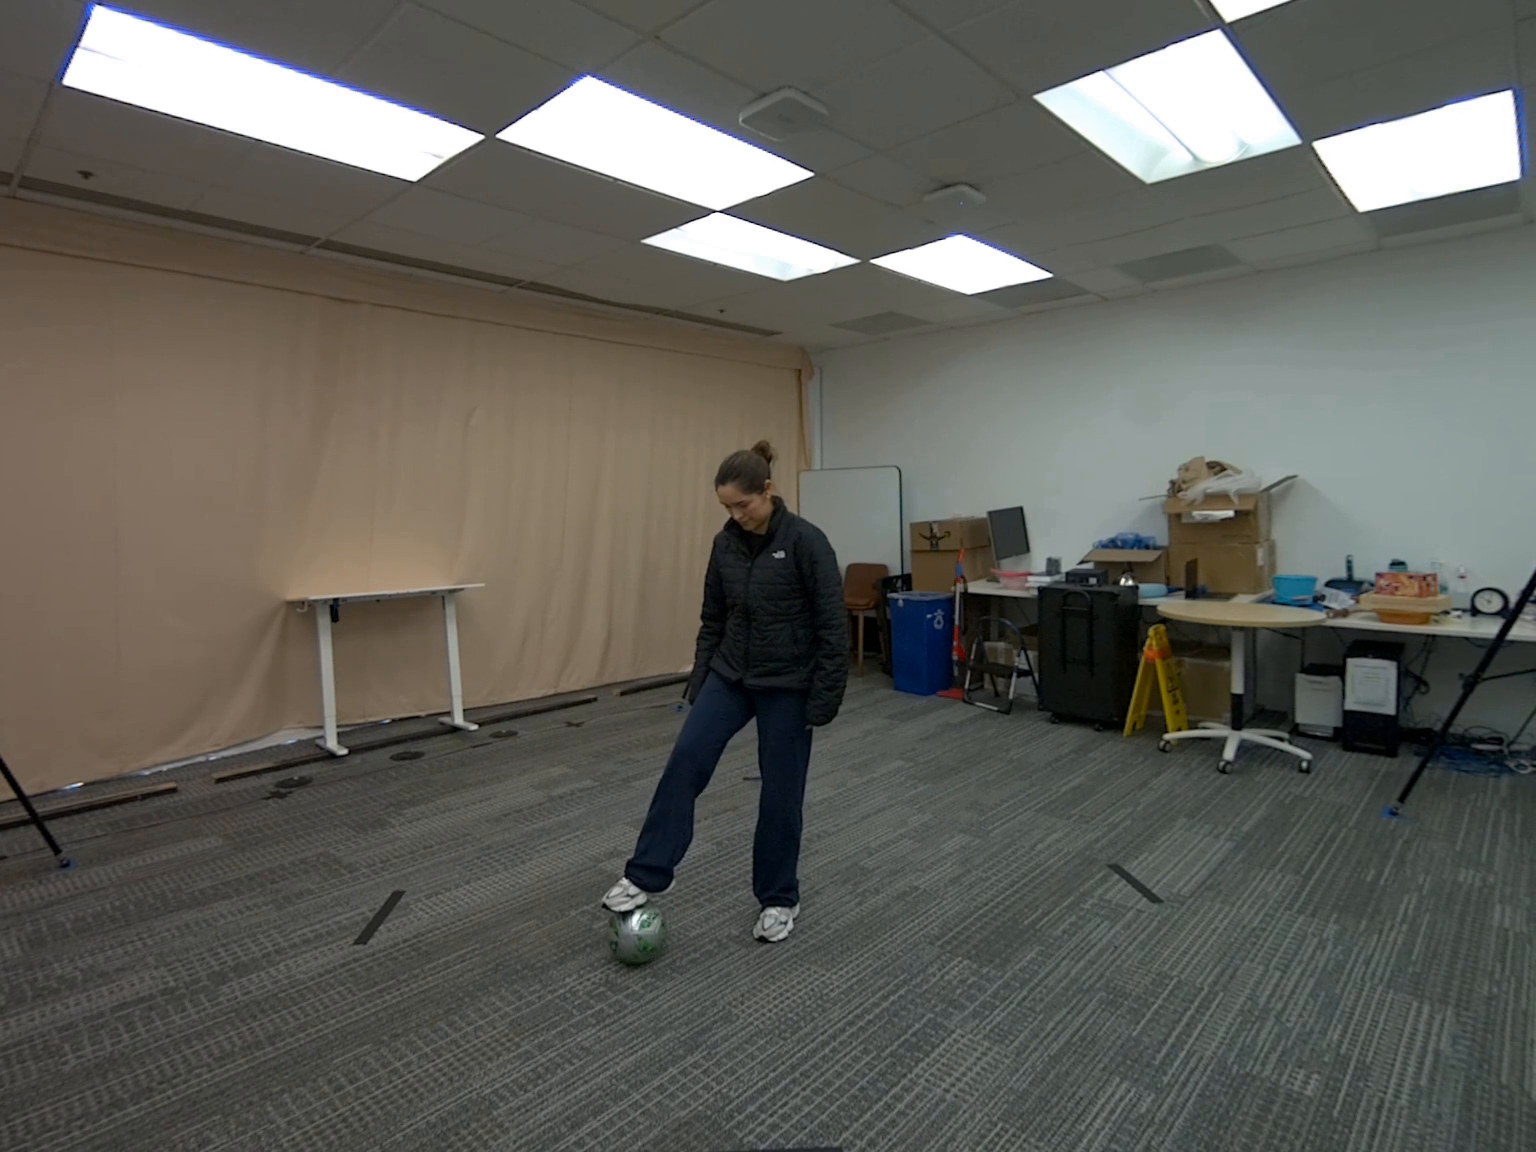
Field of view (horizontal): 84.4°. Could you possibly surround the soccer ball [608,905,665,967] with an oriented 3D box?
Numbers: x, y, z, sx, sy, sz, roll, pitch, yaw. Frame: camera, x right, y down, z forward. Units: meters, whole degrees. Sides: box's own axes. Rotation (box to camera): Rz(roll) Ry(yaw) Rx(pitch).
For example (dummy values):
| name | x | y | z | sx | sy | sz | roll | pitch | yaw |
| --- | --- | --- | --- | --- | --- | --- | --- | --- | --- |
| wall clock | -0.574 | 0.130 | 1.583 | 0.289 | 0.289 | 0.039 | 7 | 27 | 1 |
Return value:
| name | x | y | z | sx | sy | sz | roll | pitch | yaw |
| --- | --- | --- | --- | --- | --- | --- | --- | --- | --- |
| soccer ball | -0.401 | 1.094 | 2.592 | 0.187 | 0.187 | 0.188 | -1 | 4 | -2 |
